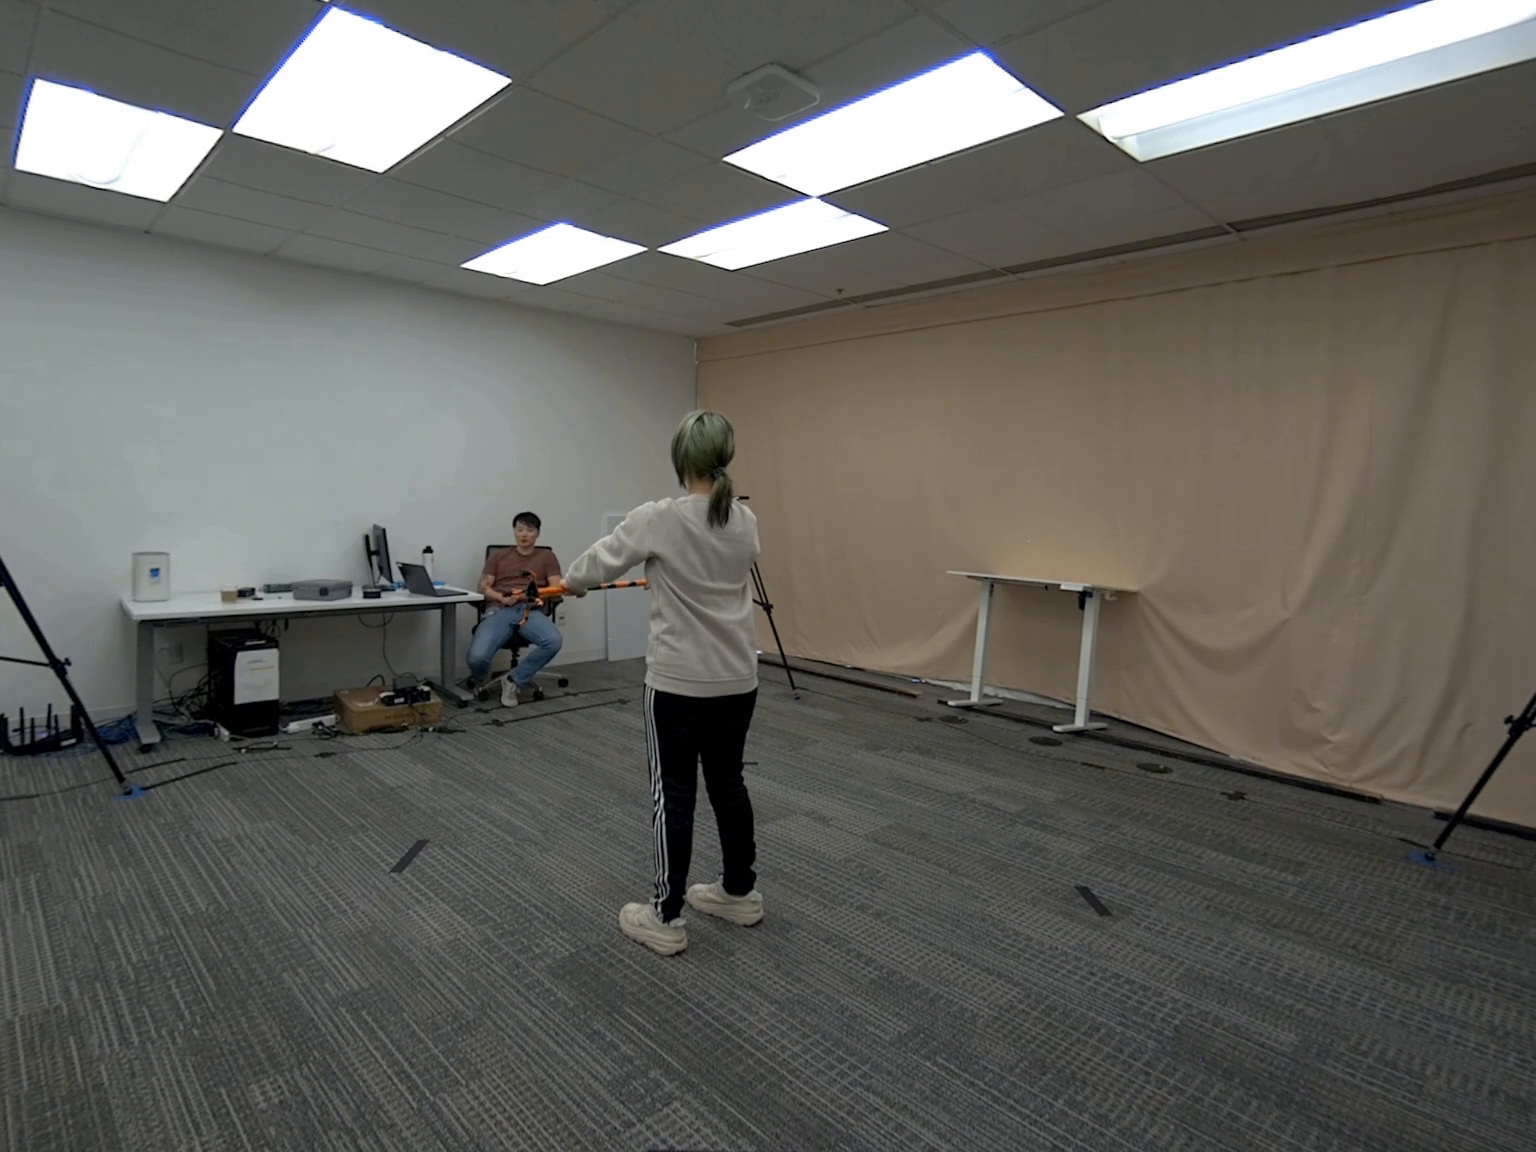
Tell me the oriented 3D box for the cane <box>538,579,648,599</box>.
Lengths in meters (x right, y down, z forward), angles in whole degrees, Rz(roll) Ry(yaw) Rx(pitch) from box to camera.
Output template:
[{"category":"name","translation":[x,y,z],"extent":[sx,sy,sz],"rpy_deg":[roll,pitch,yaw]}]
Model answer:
[{"category":"cane","translation":[-0.502,0.035,3.097],"extent":[0.889,0.154,0.208],"rpy_deg":[-5,-19,-36]}]
